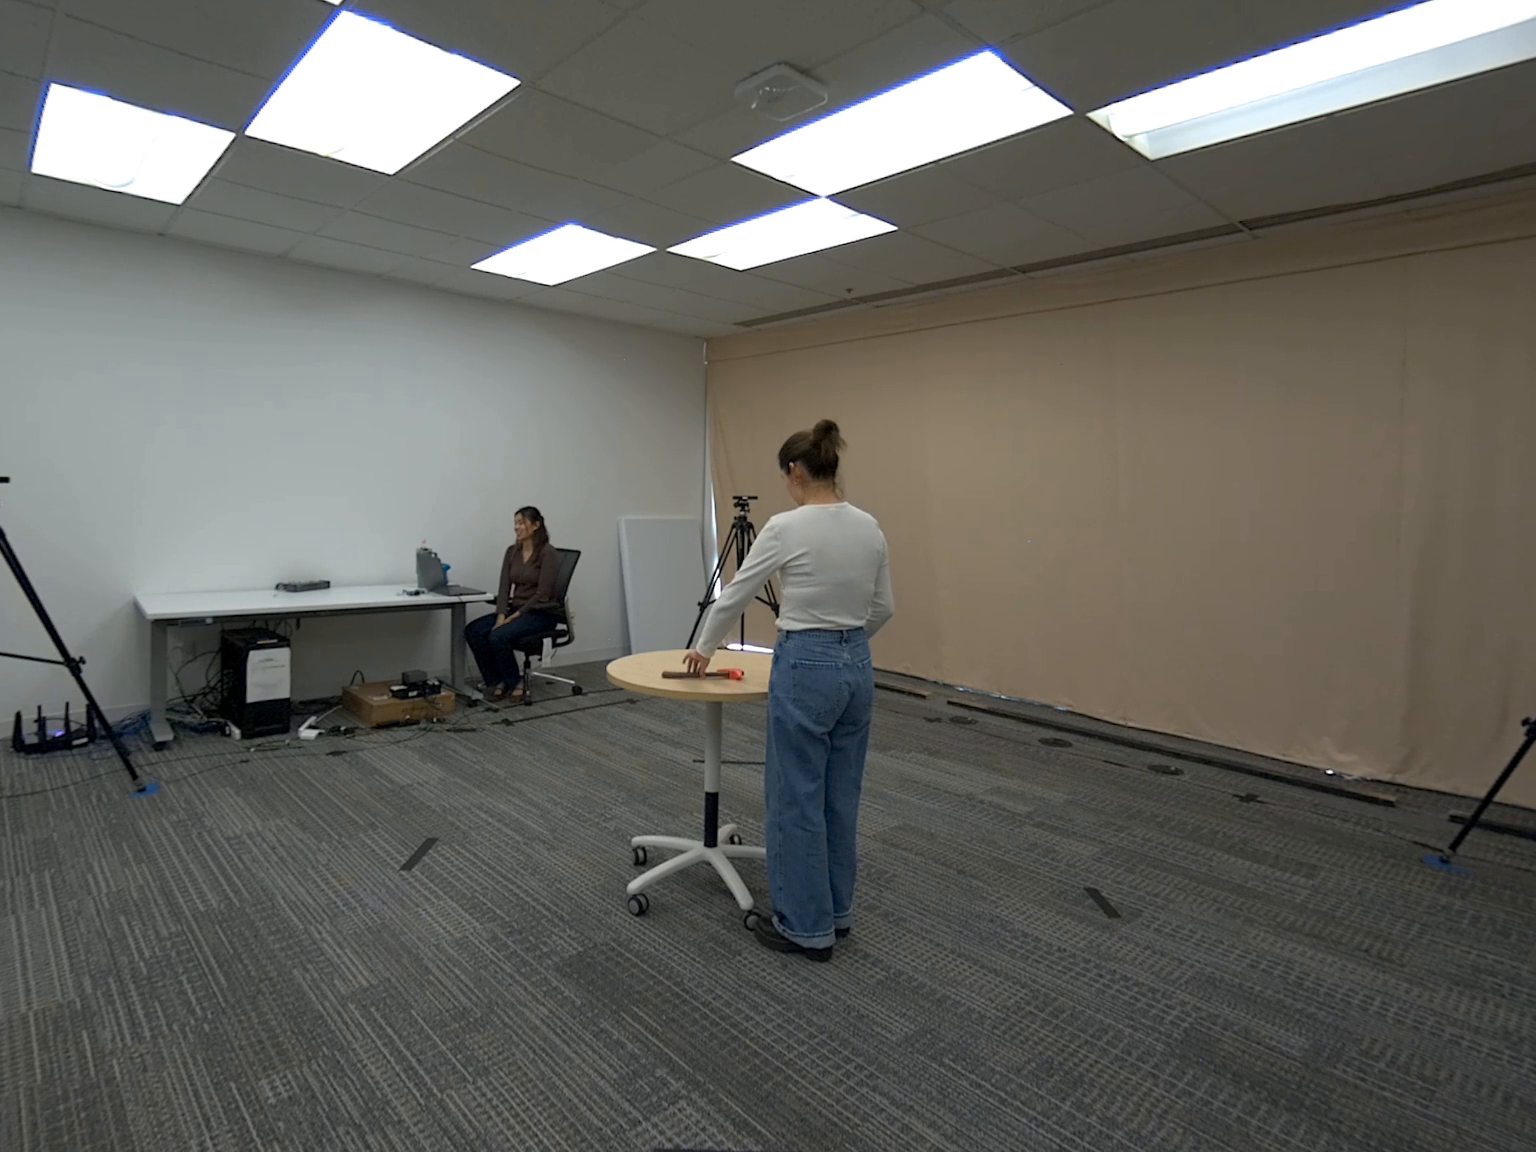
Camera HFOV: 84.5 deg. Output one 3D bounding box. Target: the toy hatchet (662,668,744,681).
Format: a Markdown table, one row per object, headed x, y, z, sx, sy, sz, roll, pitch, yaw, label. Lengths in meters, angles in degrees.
| x | y | z | sx | sy | sz | roll | pitch | yaw | label |
| --- | --- | --- | --- | --- | --- | --- | --- | --- | --- |
| -0.219 | 0.330 | 2.847 | 0.272 | 0.029 | 0.130 | 1 | 5 | 8 | toy hatchet |
